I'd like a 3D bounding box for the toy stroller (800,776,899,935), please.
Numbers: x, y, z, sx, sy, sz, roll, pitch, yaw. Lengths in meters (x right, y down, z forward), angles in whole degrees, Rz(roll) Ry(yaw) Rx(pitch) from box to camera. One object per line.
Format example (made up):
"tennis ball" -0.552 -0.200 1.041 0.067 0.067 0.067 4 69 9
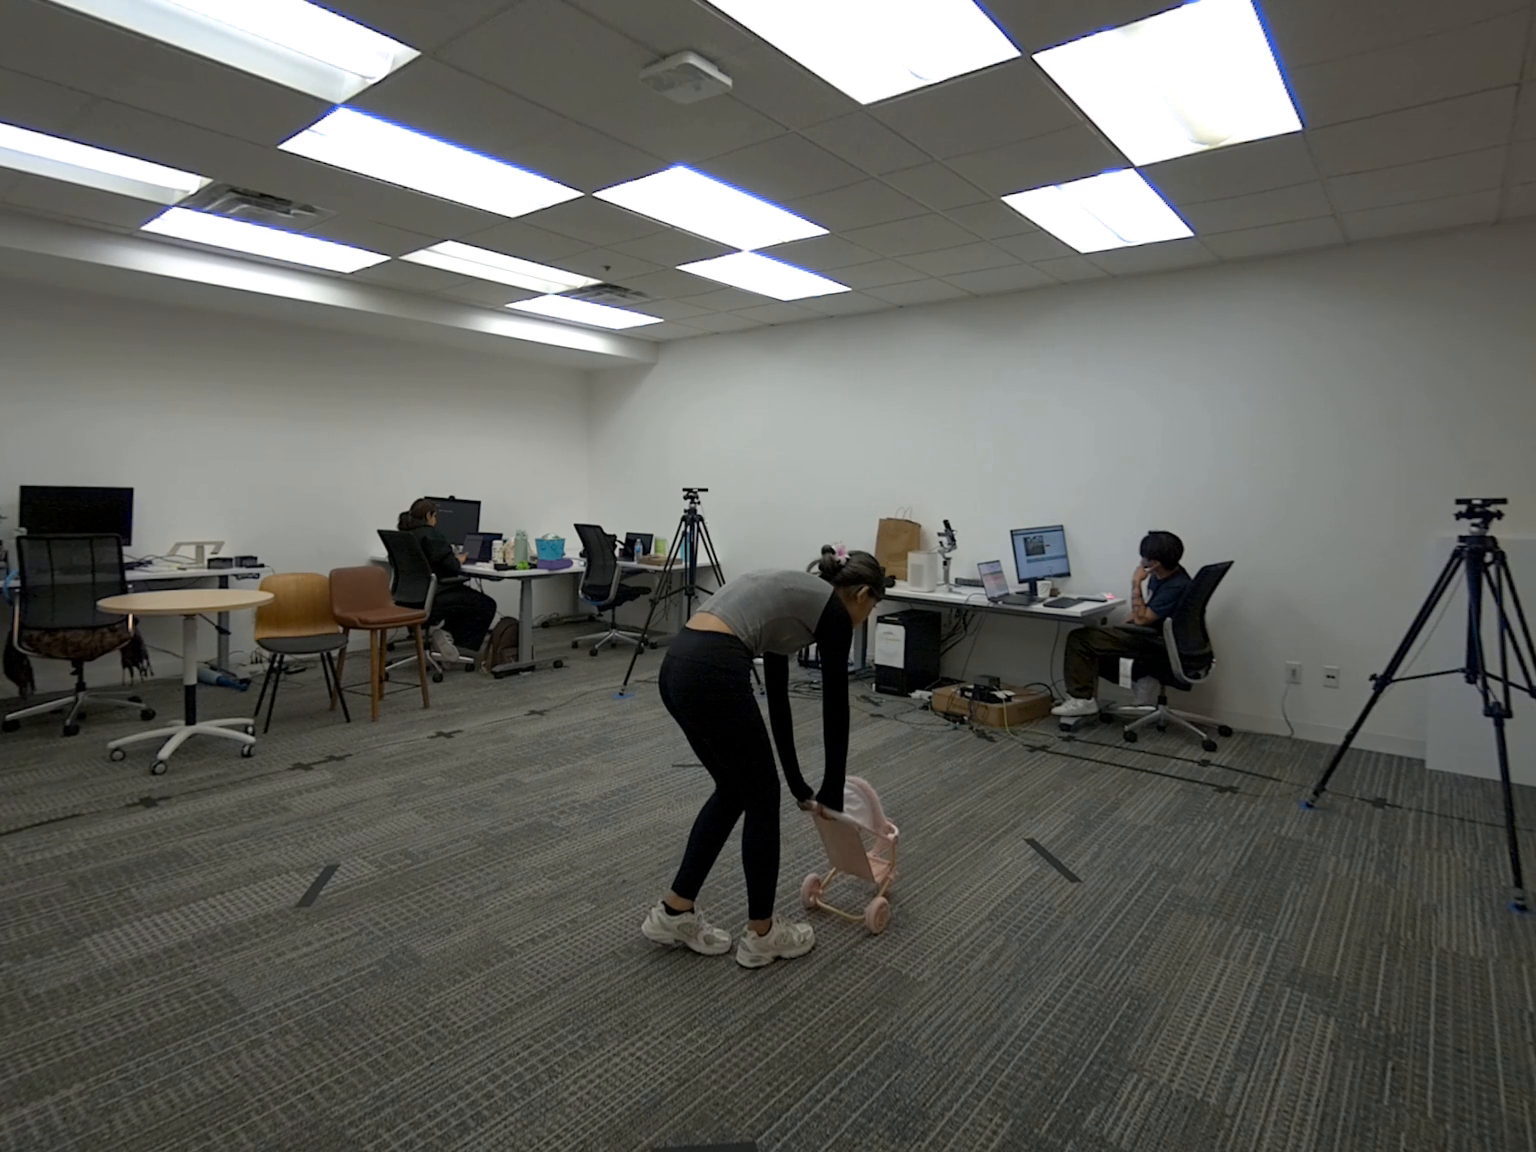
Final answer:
"toy stroller" 0.280 0.885 2.804 0.291 0.526 0.336 5 22 42
